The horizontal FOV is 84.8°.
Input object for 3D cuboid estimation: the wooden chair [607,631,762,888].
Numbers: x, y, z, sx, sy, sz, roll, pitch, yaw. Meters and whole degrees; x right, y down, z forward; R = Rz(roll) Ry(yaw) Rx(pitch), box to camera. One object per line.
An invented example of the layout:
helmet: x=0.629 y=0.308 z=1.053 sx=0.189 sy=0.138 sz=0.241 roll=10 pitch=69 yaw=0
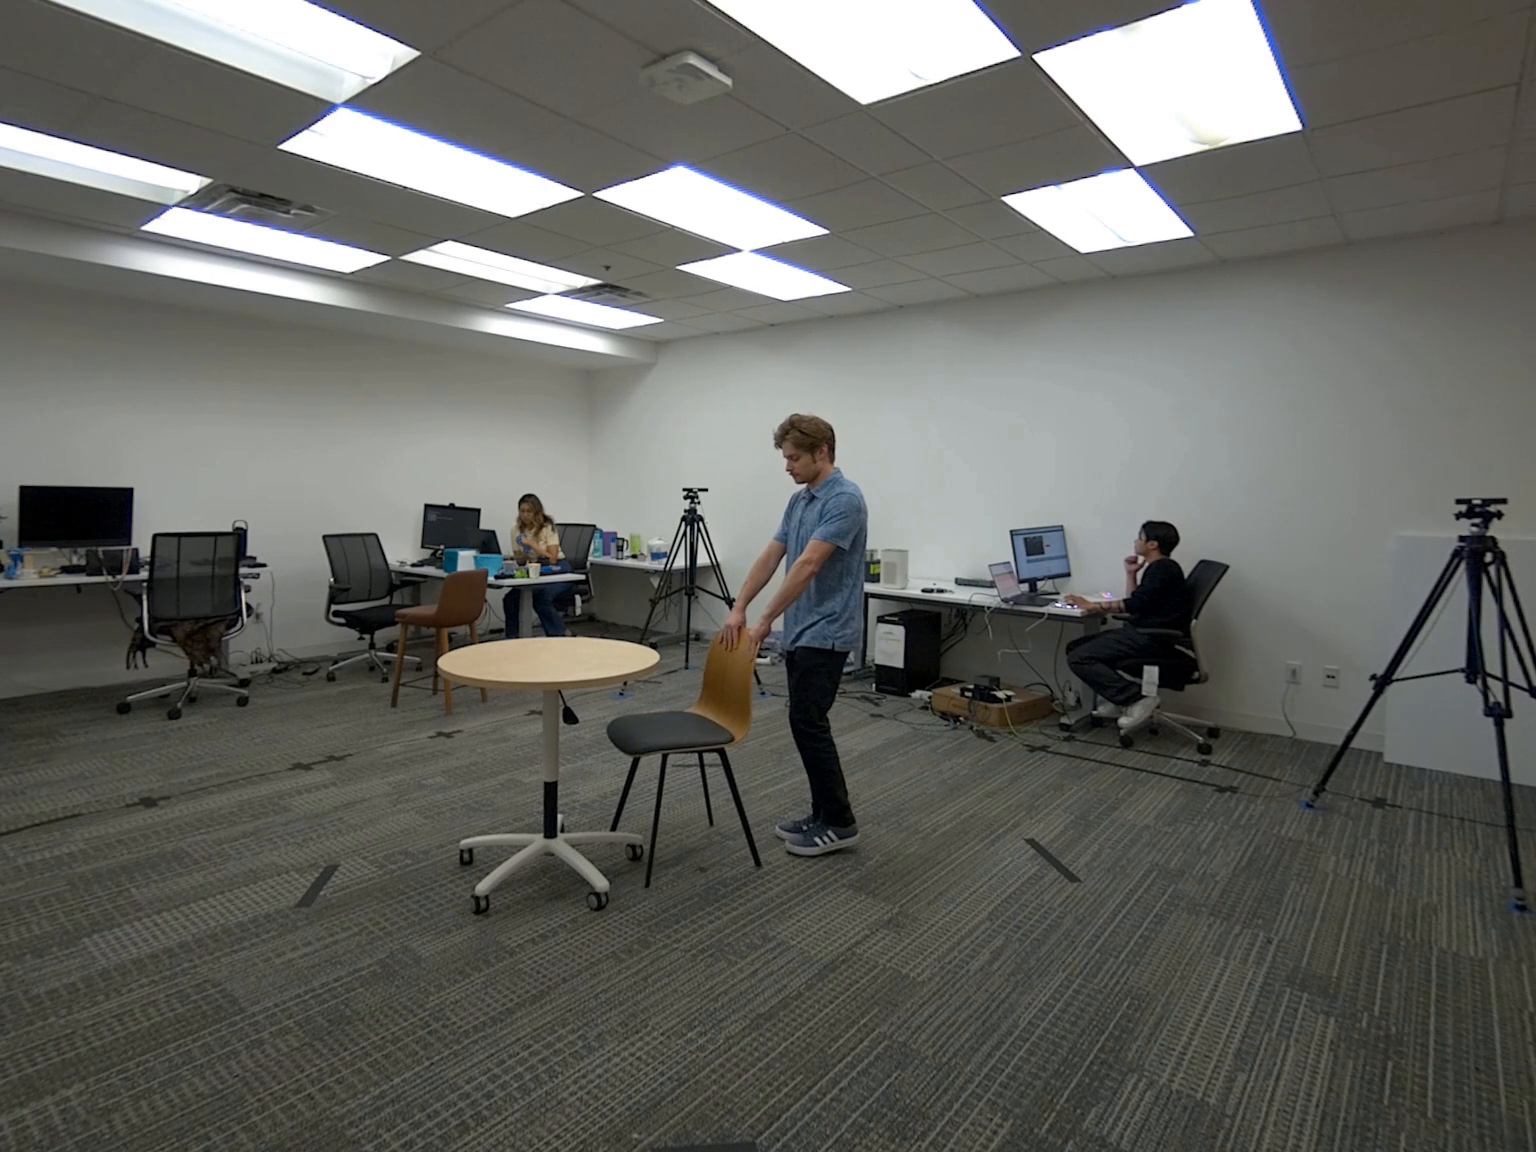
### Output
wooden chair: x=-0.335 y=0.628 z=3.213 sx=0.510 sy=0.876 sz=0.491 roll=4 pitch=2 yaw=-26
